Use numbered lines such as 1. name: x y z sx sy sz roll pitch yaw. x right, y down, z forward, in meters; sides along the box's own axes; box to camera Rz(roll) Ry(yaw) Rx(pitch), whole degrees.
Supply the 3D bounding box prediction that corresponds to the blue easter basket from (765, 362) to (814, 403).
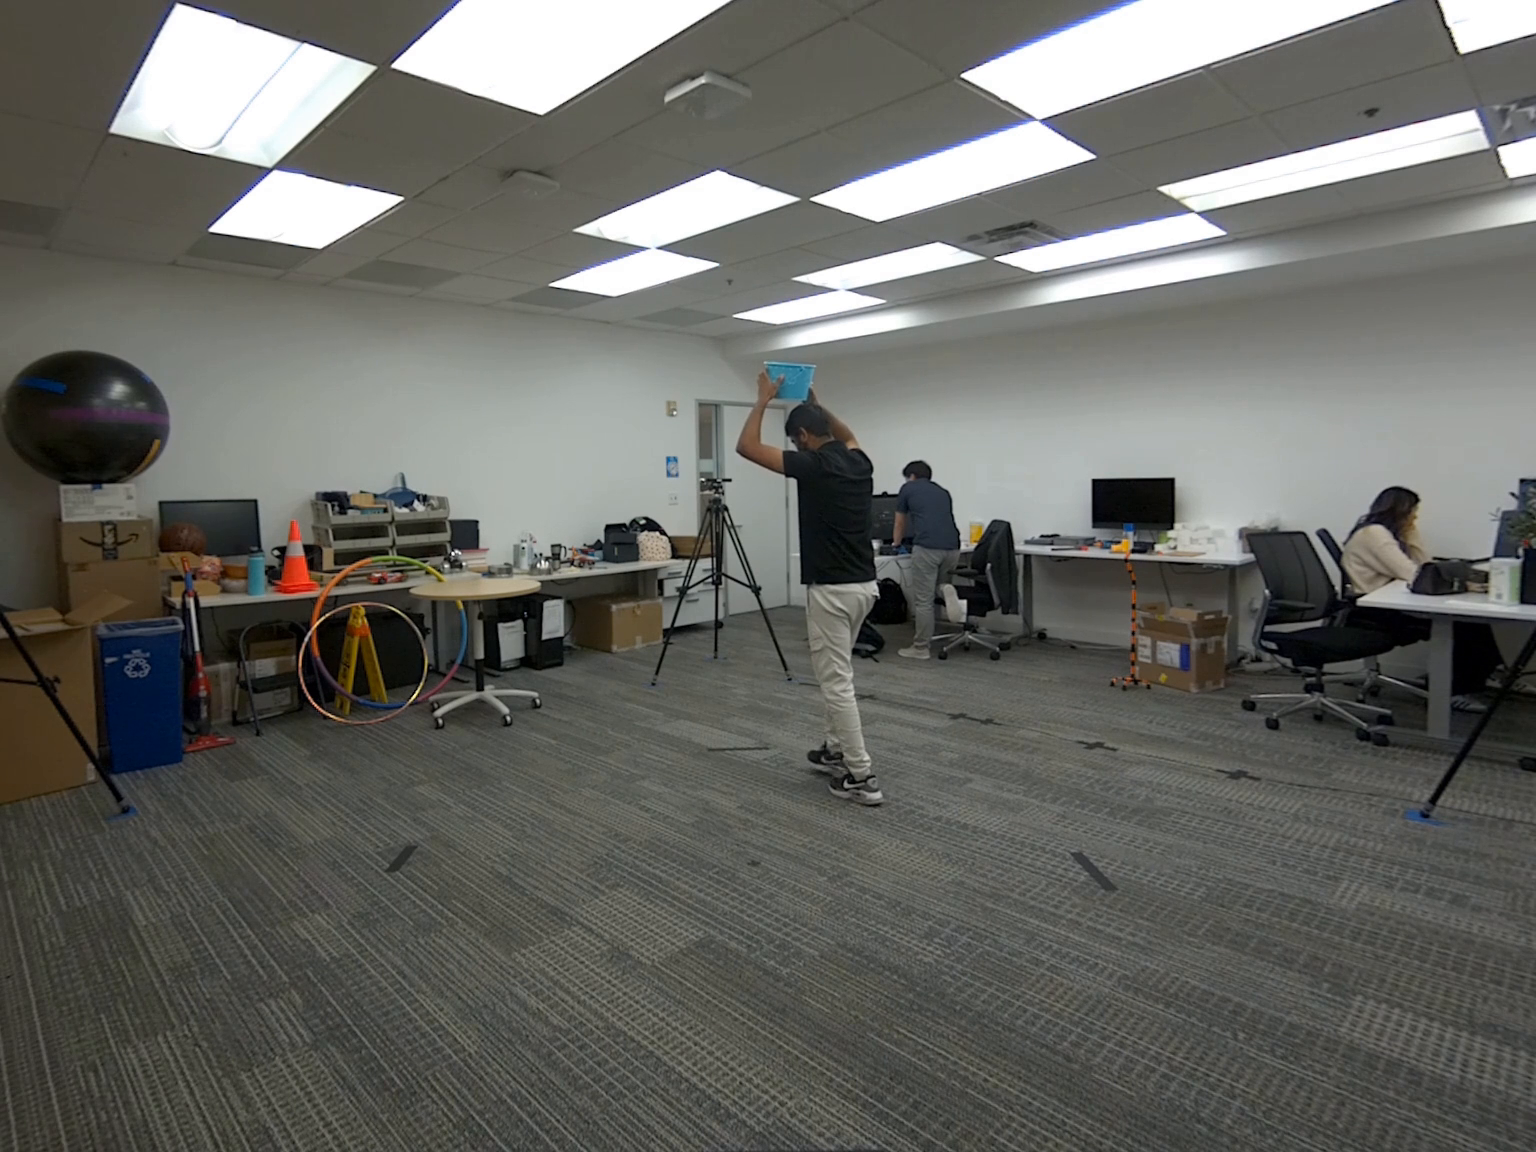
1. blue easter basket: 0.089 -0.881 3.855 0.243 0.154 0.247 3 15 -3
